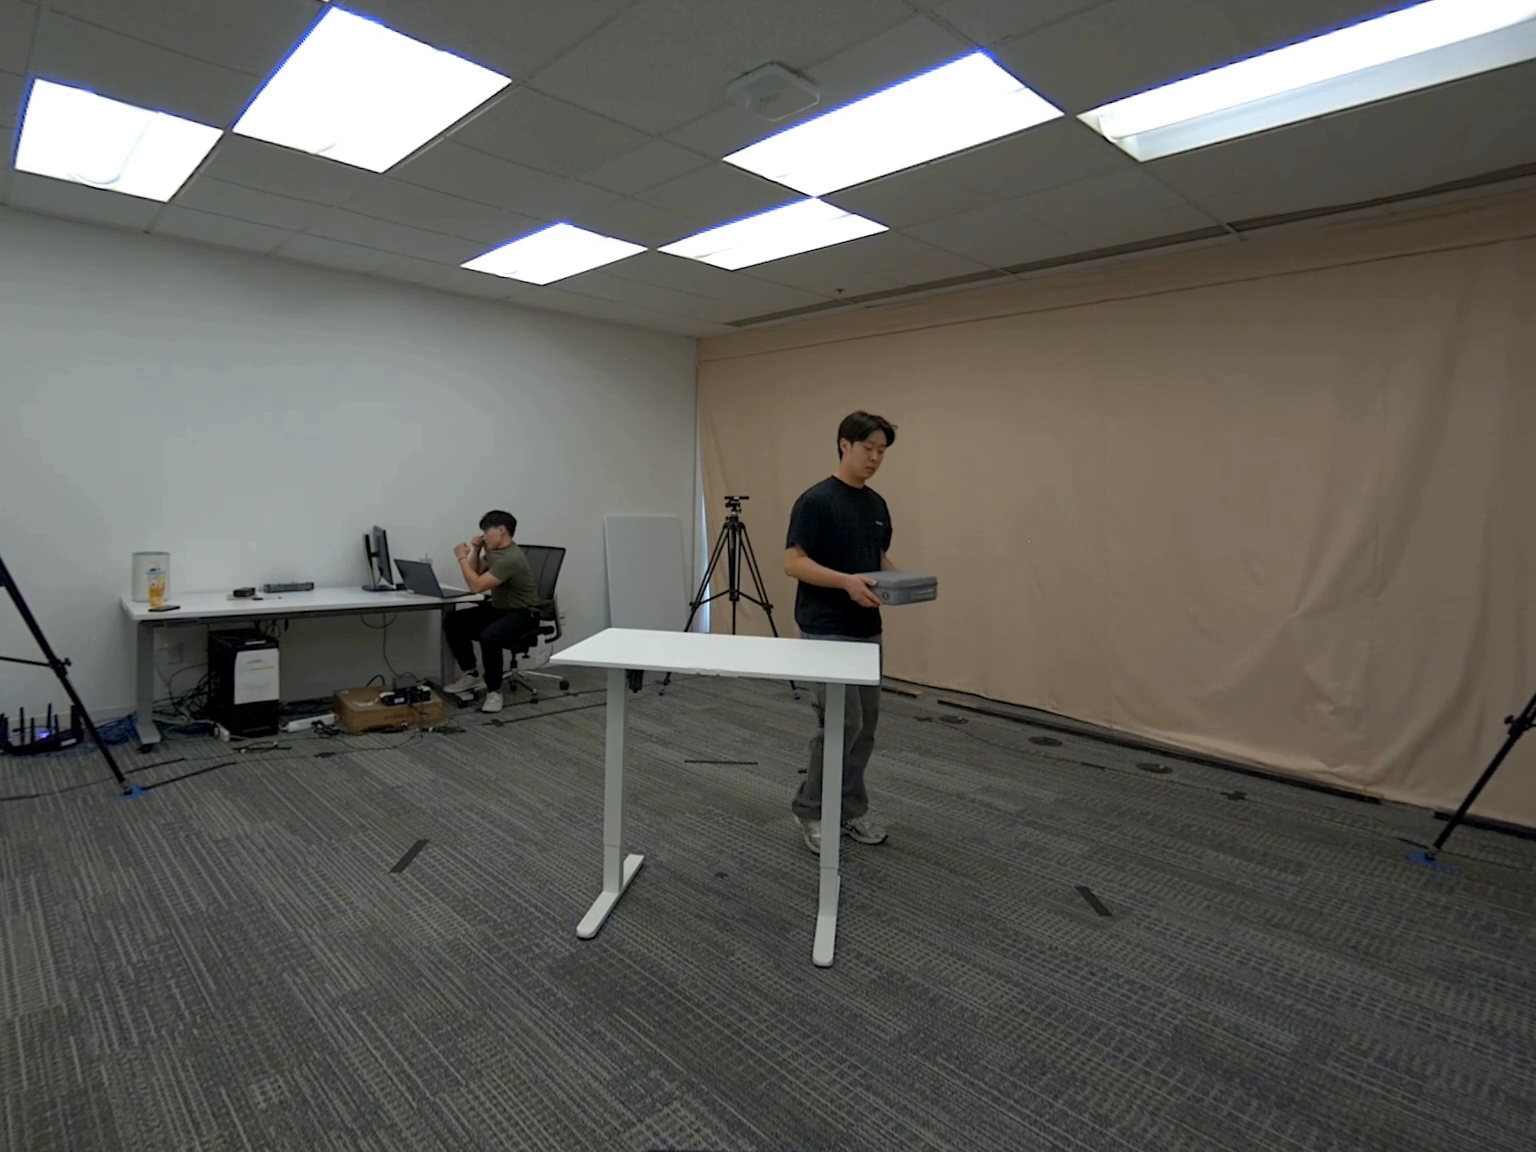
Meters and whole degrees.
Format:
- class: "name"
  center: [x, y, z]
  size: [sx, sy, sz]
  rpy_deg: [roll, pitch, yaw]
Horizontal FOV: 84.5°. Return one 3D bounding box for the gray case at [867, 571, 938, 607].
- class: "gray case"
  center: [0.466, 0.043, 3.238]
  size: [0.281, 0.103, 0.269]
  rpy_deg: [-4, 7, -32]
